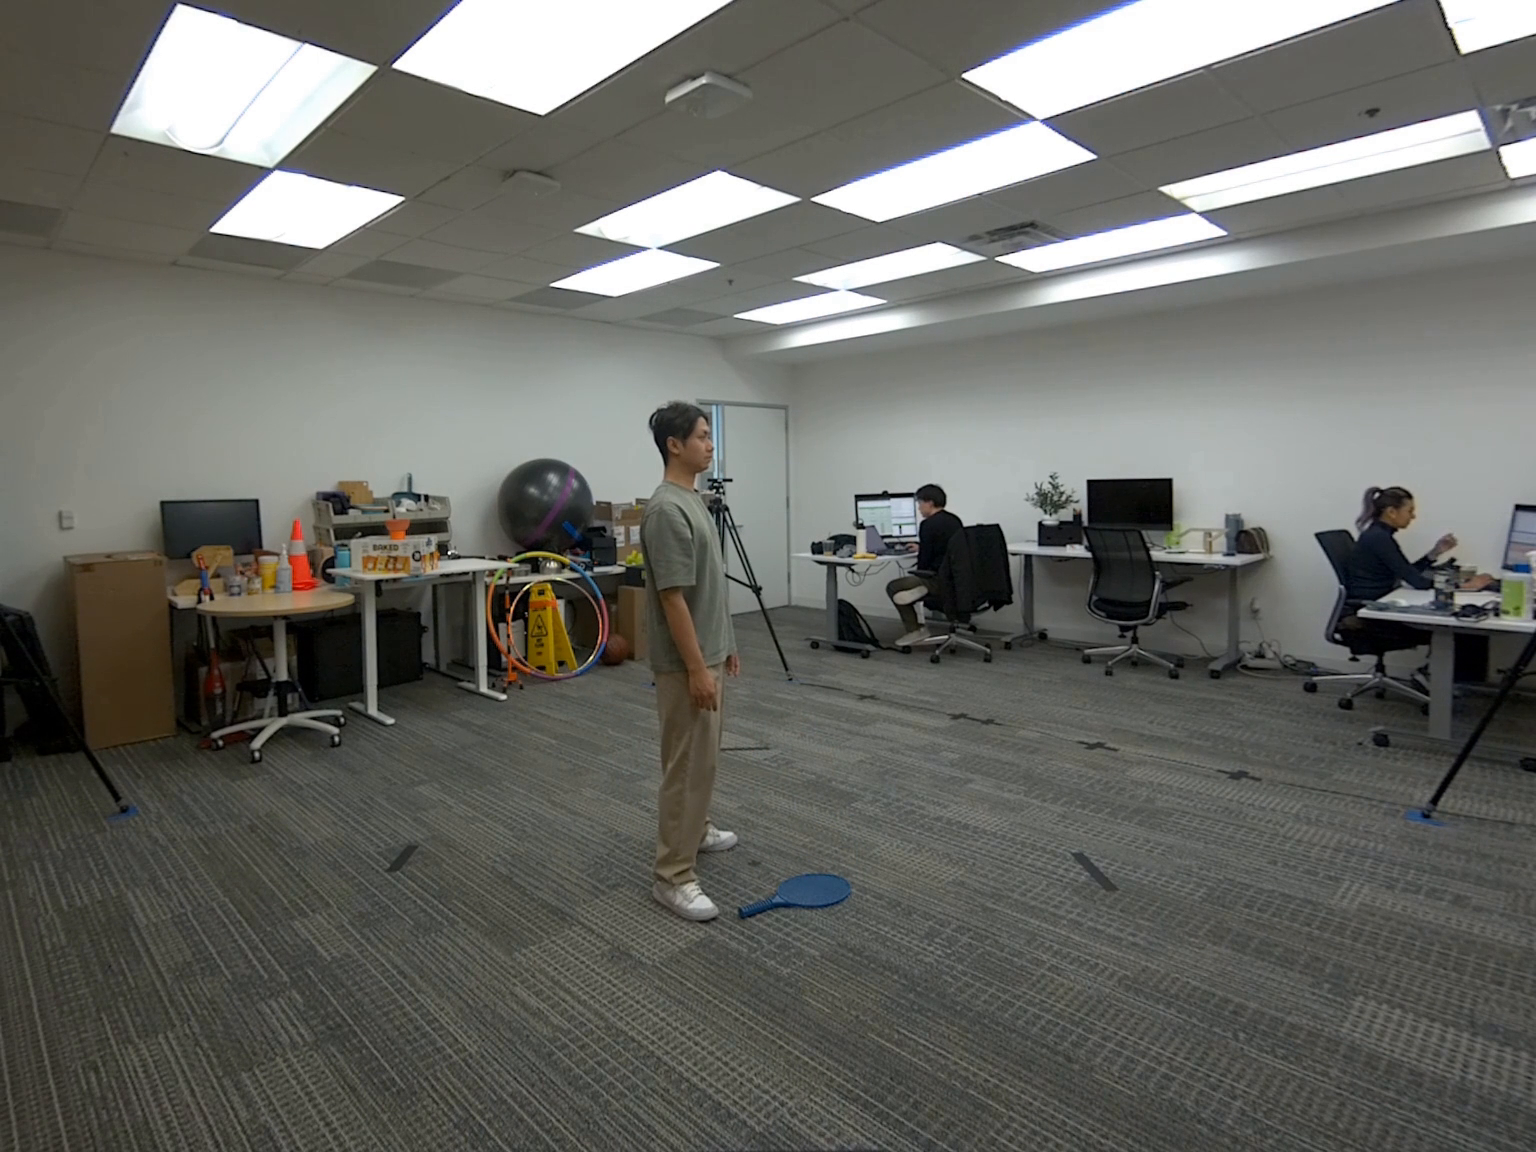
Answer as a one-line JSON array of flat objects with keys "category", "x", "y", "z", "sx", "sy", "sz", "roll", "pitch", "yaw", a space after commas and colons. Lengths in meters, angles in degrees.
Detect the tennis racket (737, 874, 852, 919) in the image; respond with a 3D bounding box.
[{"category": "tennis racket", "x": 0.088, "y": 1.060, "z": 2.844, "sx": 0.422, "sy": 0.031, "sz": 0.220, "roll": -4, "pitch": 7, "yaw": -32}]
